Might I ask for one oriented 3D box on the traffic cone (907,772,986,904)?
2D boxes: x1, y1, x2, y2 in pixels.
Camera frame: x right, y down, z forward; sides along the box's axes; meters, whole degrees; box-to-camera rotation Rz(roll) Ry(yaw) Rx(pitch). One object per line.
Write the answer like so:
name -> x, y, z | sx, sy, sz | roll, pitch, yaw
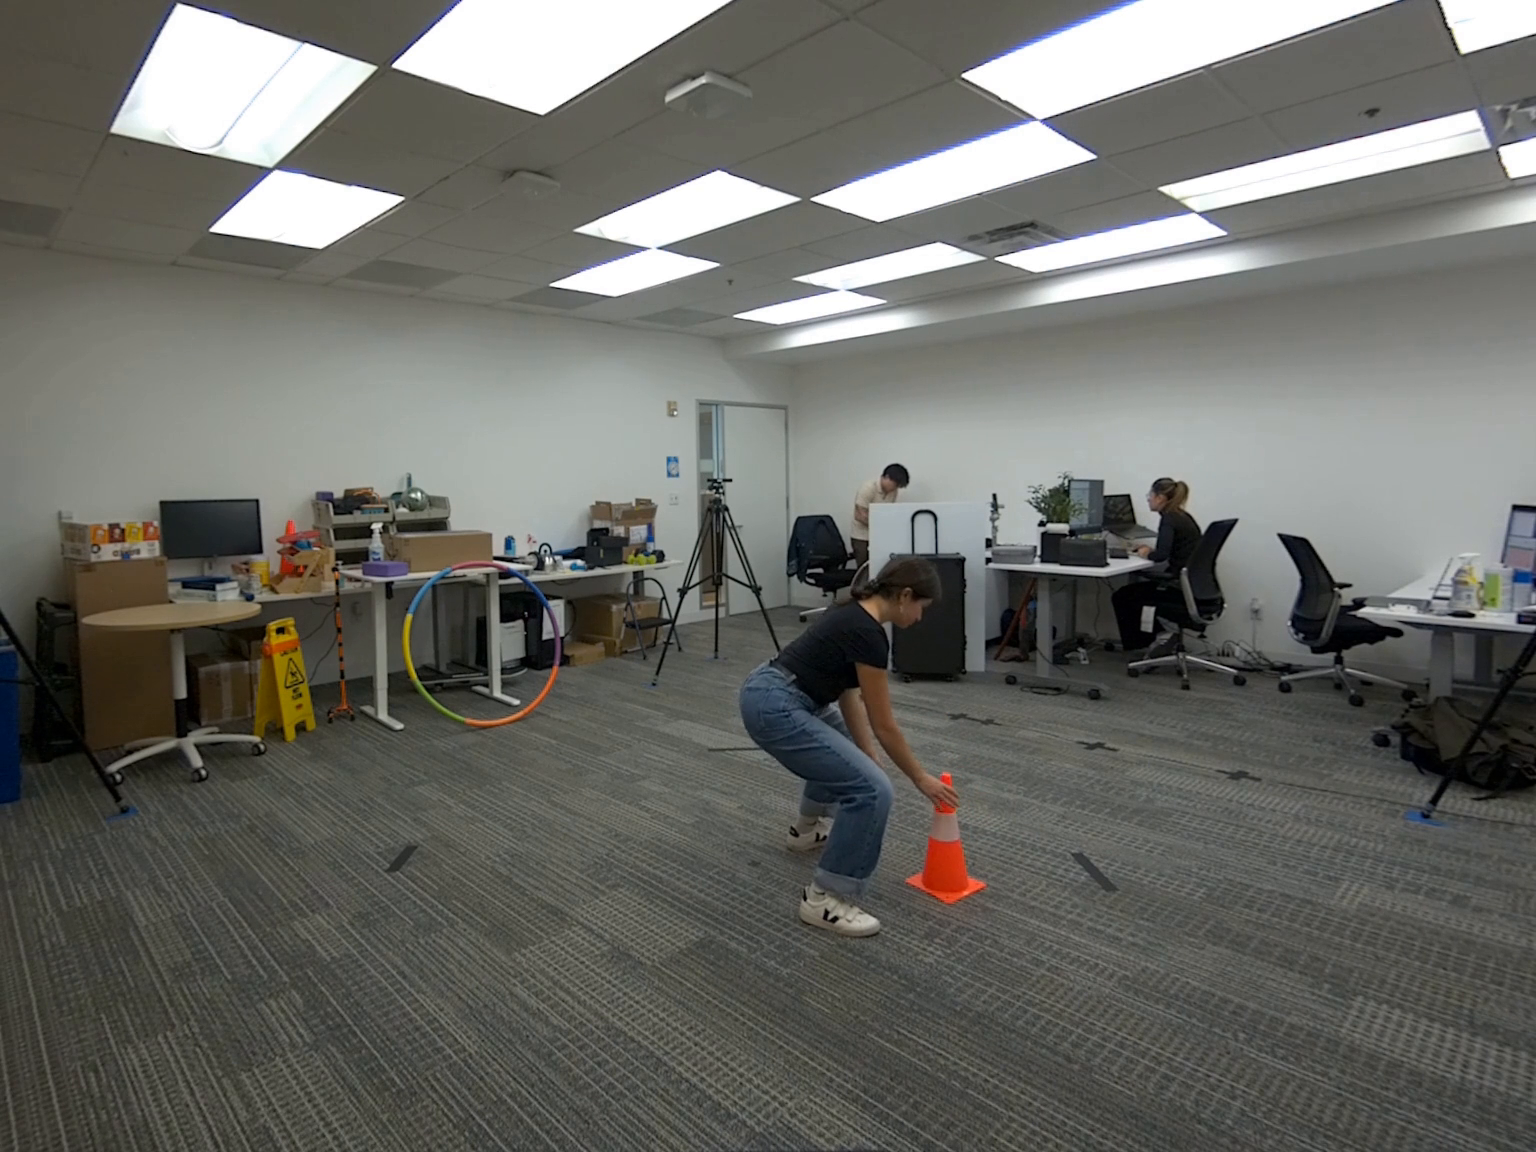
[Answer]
traffic cone -> 0.619, 0.869, 2.920 | 0.200, 0.382, 0.209 | -1, 5, -33
